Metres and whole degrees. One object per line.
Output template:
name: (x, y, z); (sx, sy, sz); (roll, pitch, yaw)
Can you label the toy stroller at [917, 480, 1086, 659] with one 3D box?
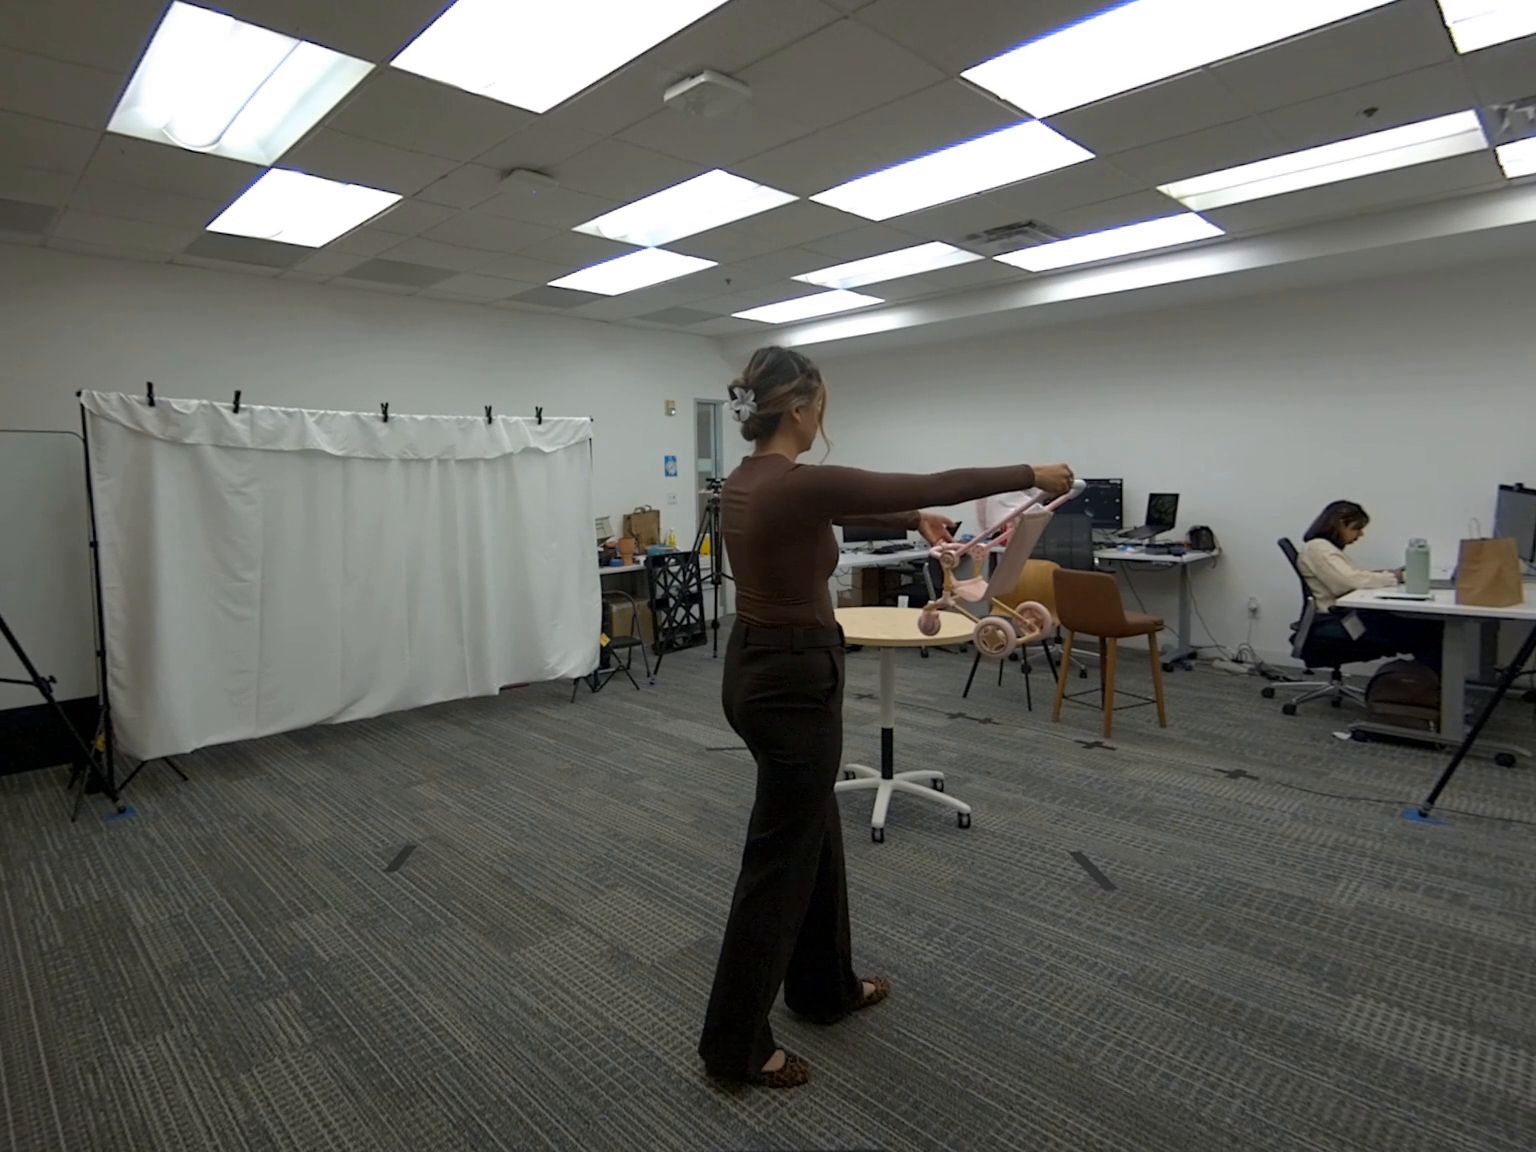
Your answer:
toy stroller: (0.606, -0.040, 2.307); (0.274, 0.529, 0.354); (-7, 22, -45)
